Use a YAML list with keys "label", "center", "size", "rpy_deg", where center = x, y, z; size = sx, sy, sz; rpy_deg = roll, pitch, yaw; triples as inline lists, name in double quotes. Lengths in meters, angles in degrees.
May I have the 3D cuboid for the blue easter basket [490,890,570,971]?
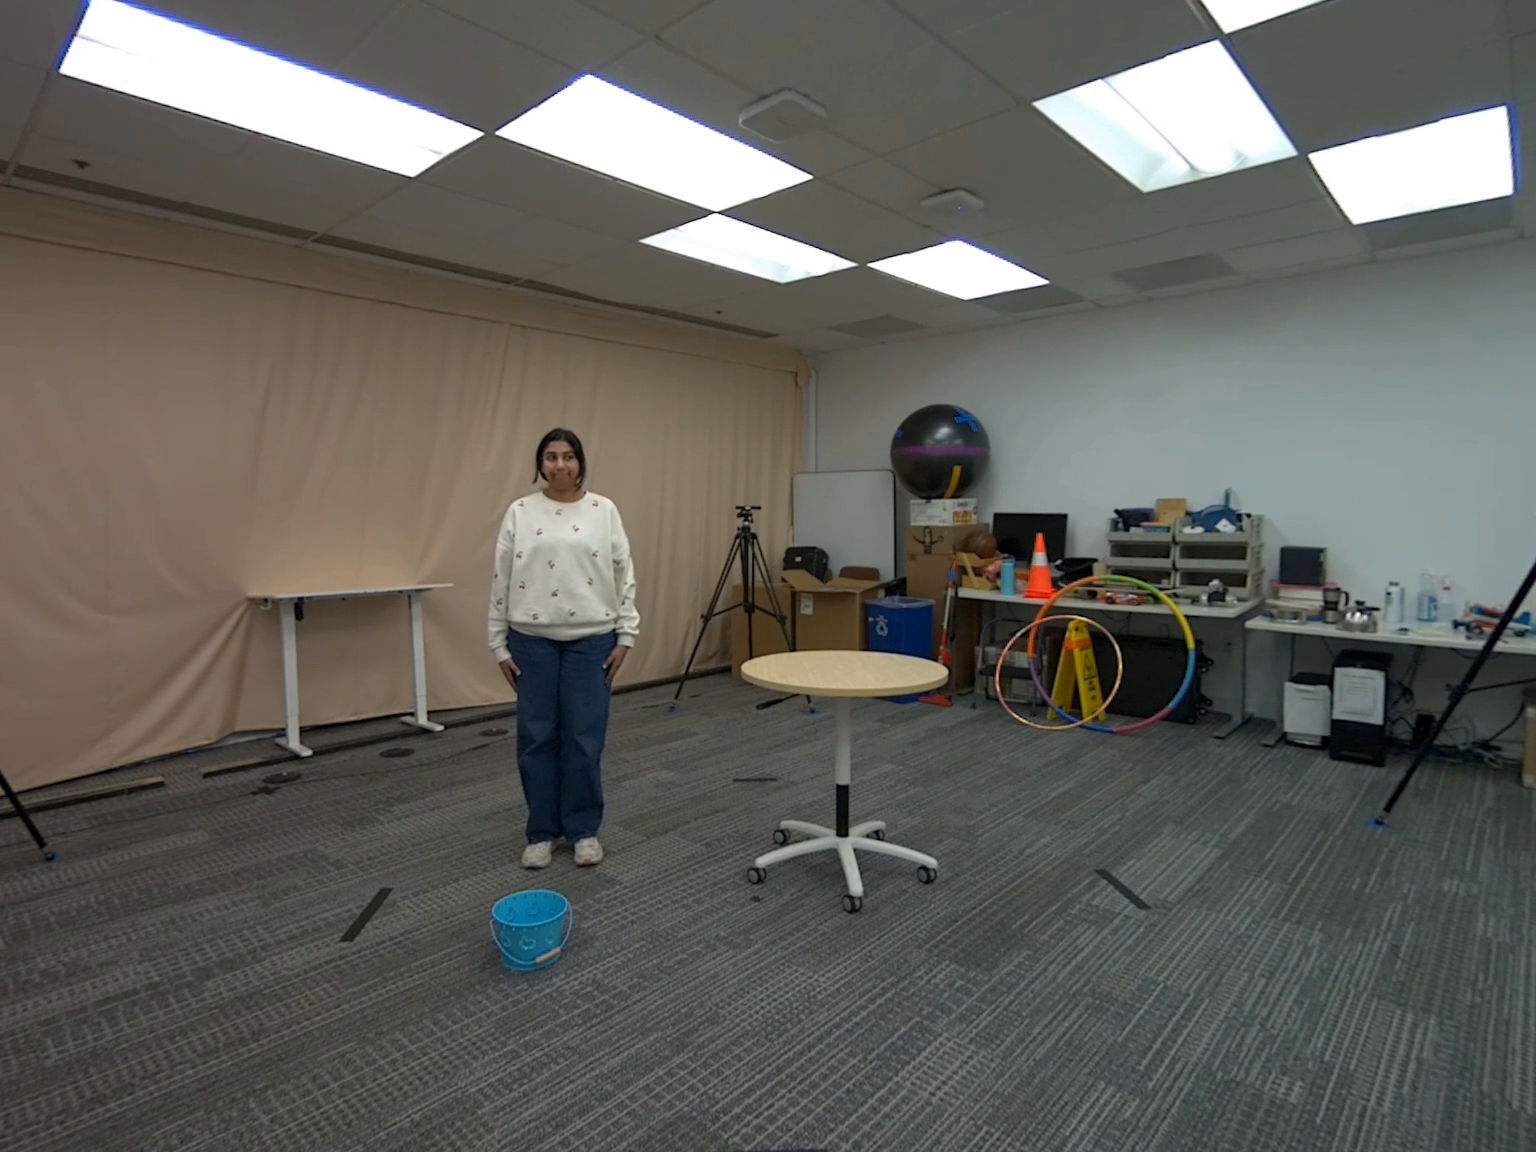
- label: "blue easter basket"
  center: [-0.740, 1.105, 2.612]
  size: [0.243, 0.155, 0.244]
  rpy_deg: [1, 4, -2]
